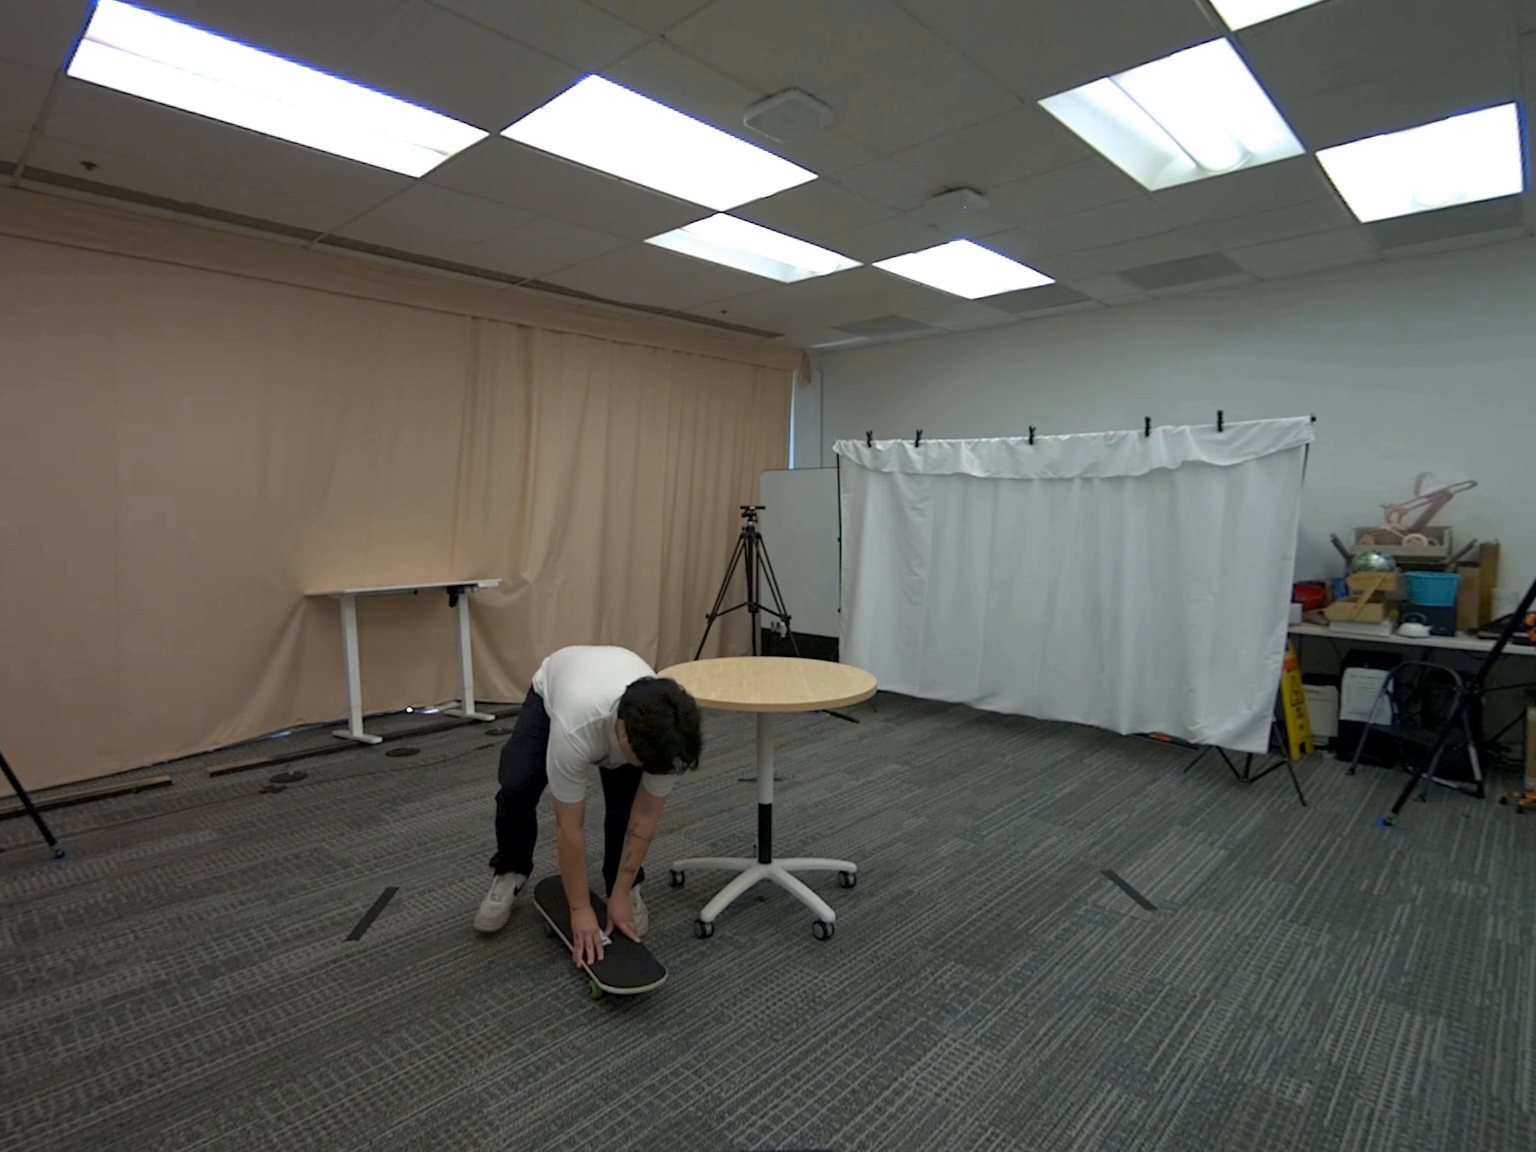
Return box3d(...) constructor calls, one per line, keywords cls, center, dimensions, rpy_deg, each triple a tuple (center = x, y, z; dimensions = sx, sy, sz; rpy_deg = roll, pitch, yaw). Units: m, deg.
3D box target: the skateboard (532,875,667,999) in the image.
box3d(cls="skateboard", center=(-0.534, 1.127, 2.594), dimensions=(0.188, 0.110, 0.809), rpy_deg=(-3, 5, -31))
